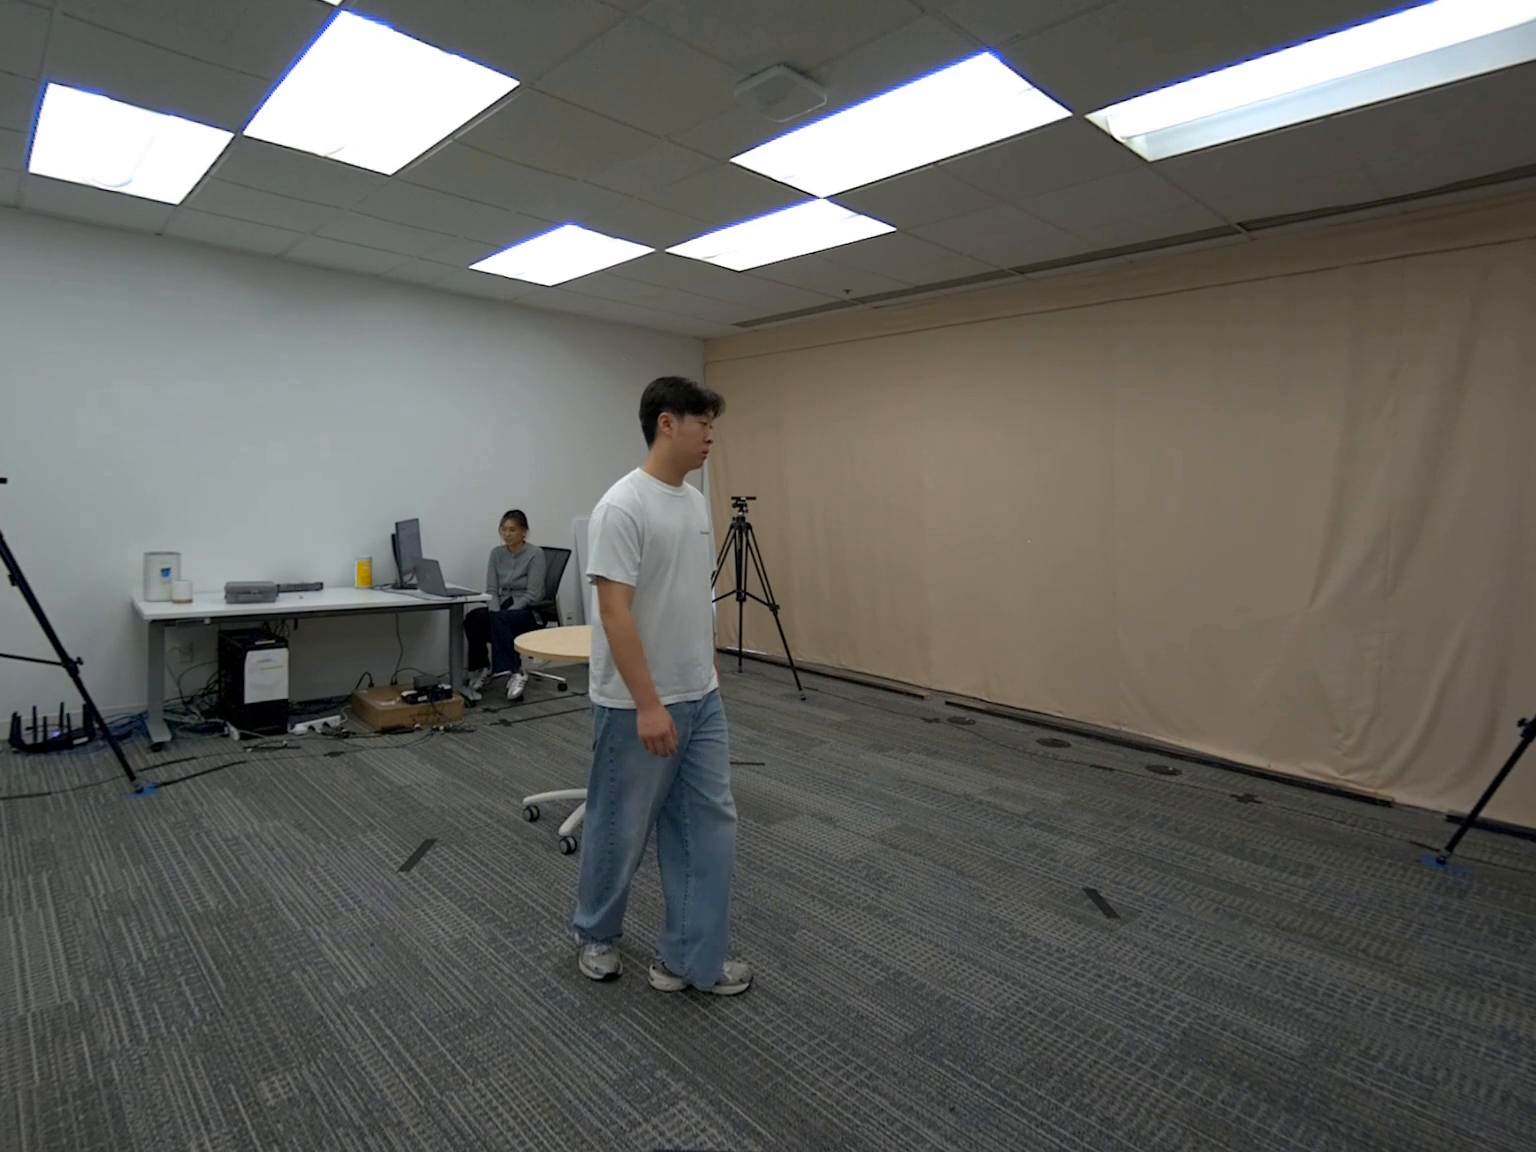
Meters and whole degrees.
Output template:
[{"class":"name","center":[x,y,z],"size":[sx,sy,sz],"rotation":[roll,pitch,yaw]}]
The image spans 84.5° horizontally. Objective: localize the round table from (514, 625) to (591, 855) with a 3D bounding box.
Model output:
[{"class":"round table","center":[-0.694,0.665,3.569],"size":[0.763,0.792,0.766],"rotation":[1,4,-1]}]
